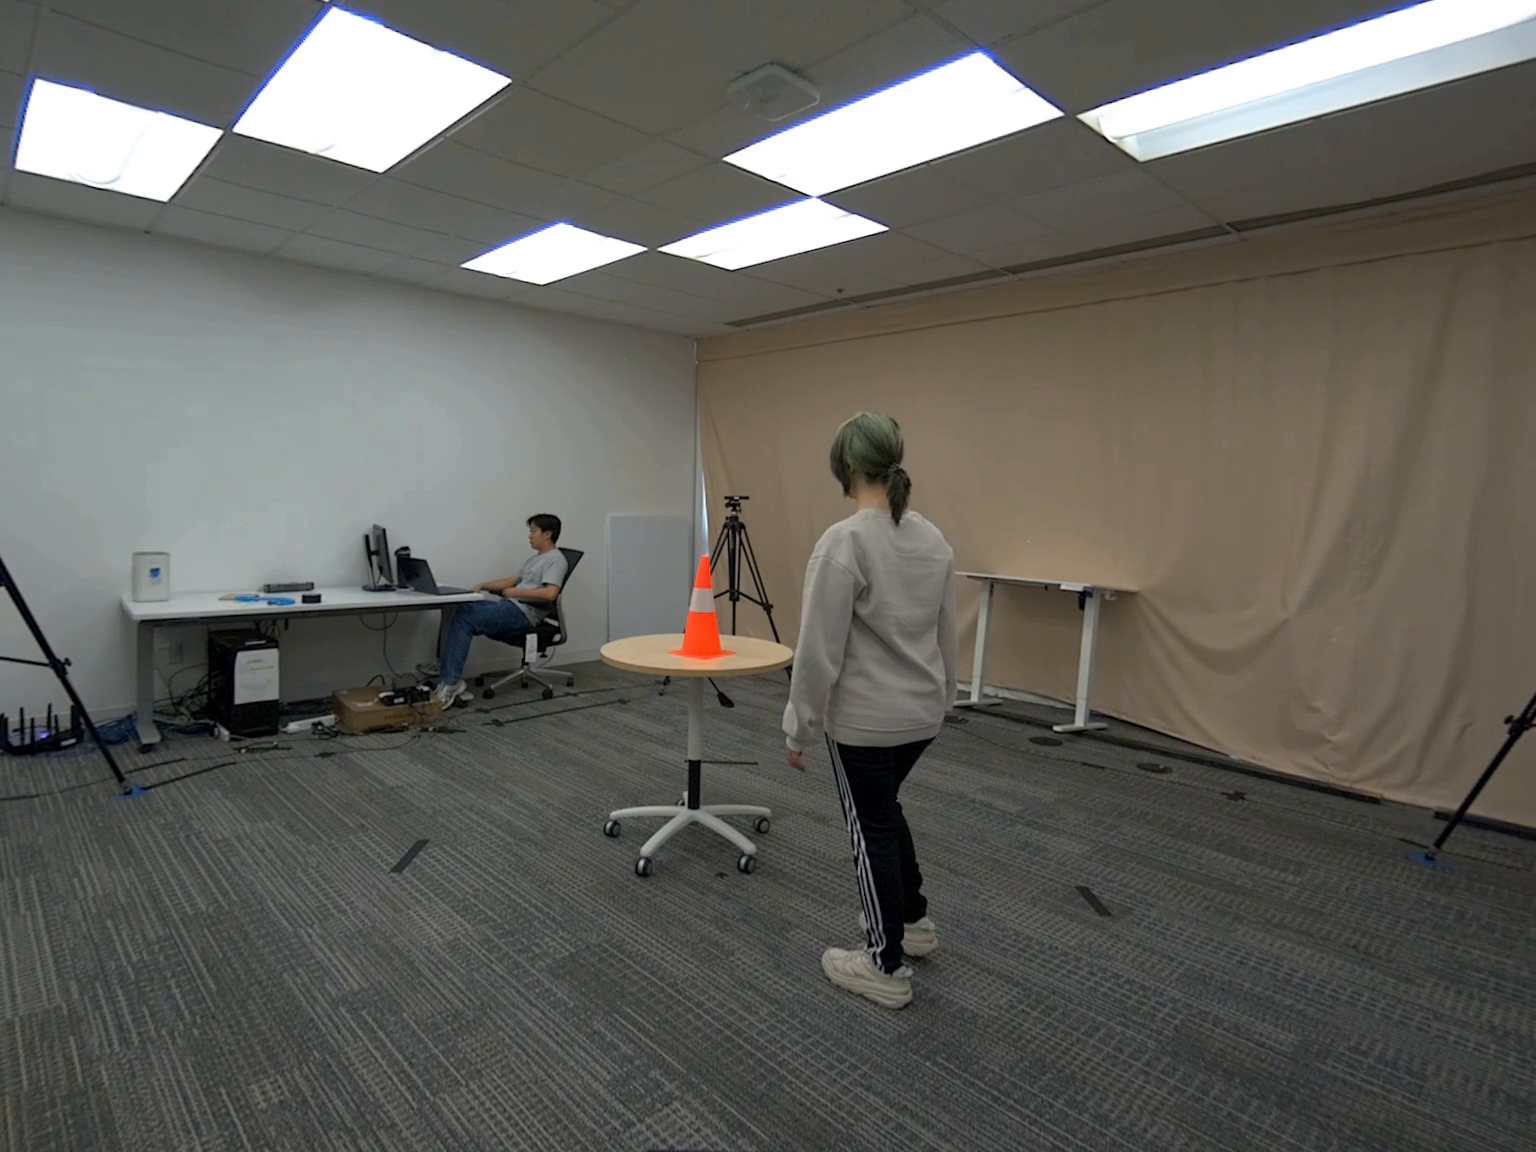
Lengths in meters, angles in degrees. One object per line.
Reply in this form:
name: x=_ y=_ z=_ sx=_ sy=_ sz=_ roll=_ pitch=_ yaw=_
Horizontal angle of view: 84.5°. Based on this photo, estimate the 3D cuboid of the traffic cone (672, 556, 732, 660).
traffic cone: x=-0.259 y=0.116 z=3.276 sx=0.208 sy=0.383 sz=0.200 roll=4 pitch=3 yaw=37
